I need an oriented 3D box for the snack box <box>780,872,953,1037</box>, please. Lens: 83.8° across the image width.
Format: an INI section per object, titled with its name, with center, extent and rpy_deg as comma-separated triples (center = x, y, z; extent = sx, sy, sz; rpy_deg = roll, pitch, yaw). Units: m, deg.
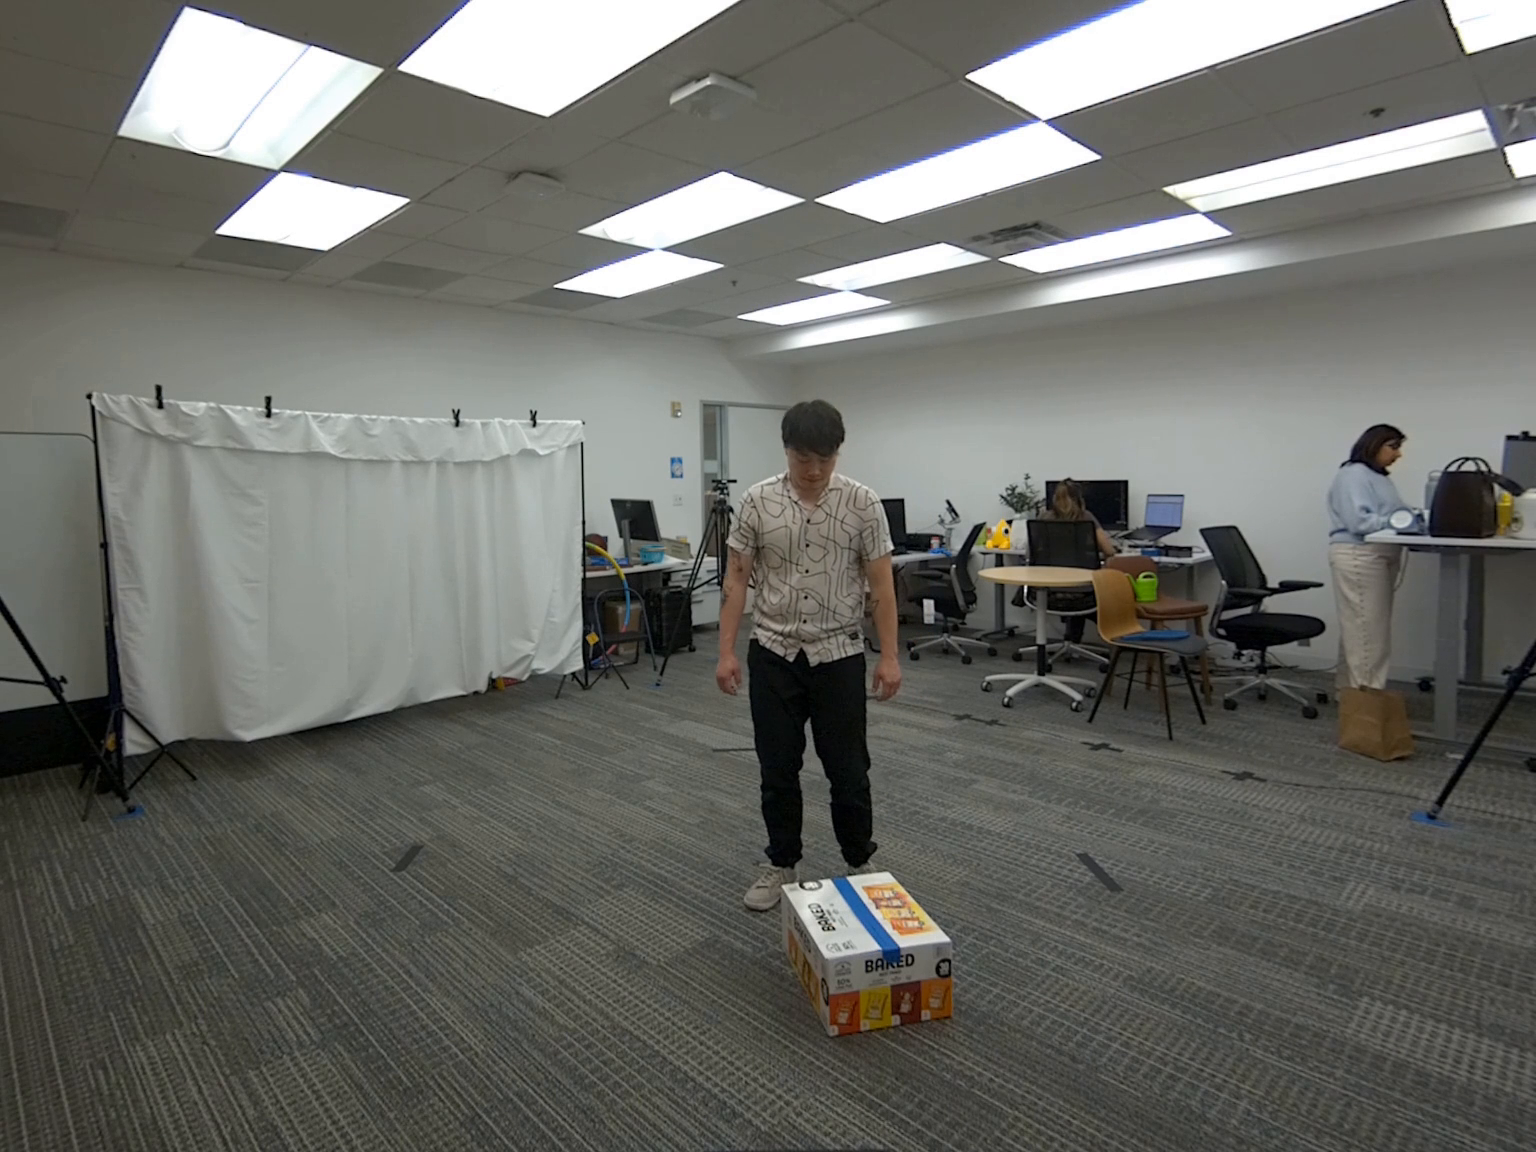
[snack box]
center = 0.262, 1.030, 2.357
extent = 0.336, 0.205, 0.412
rpy_deg = -2, 6, -14
